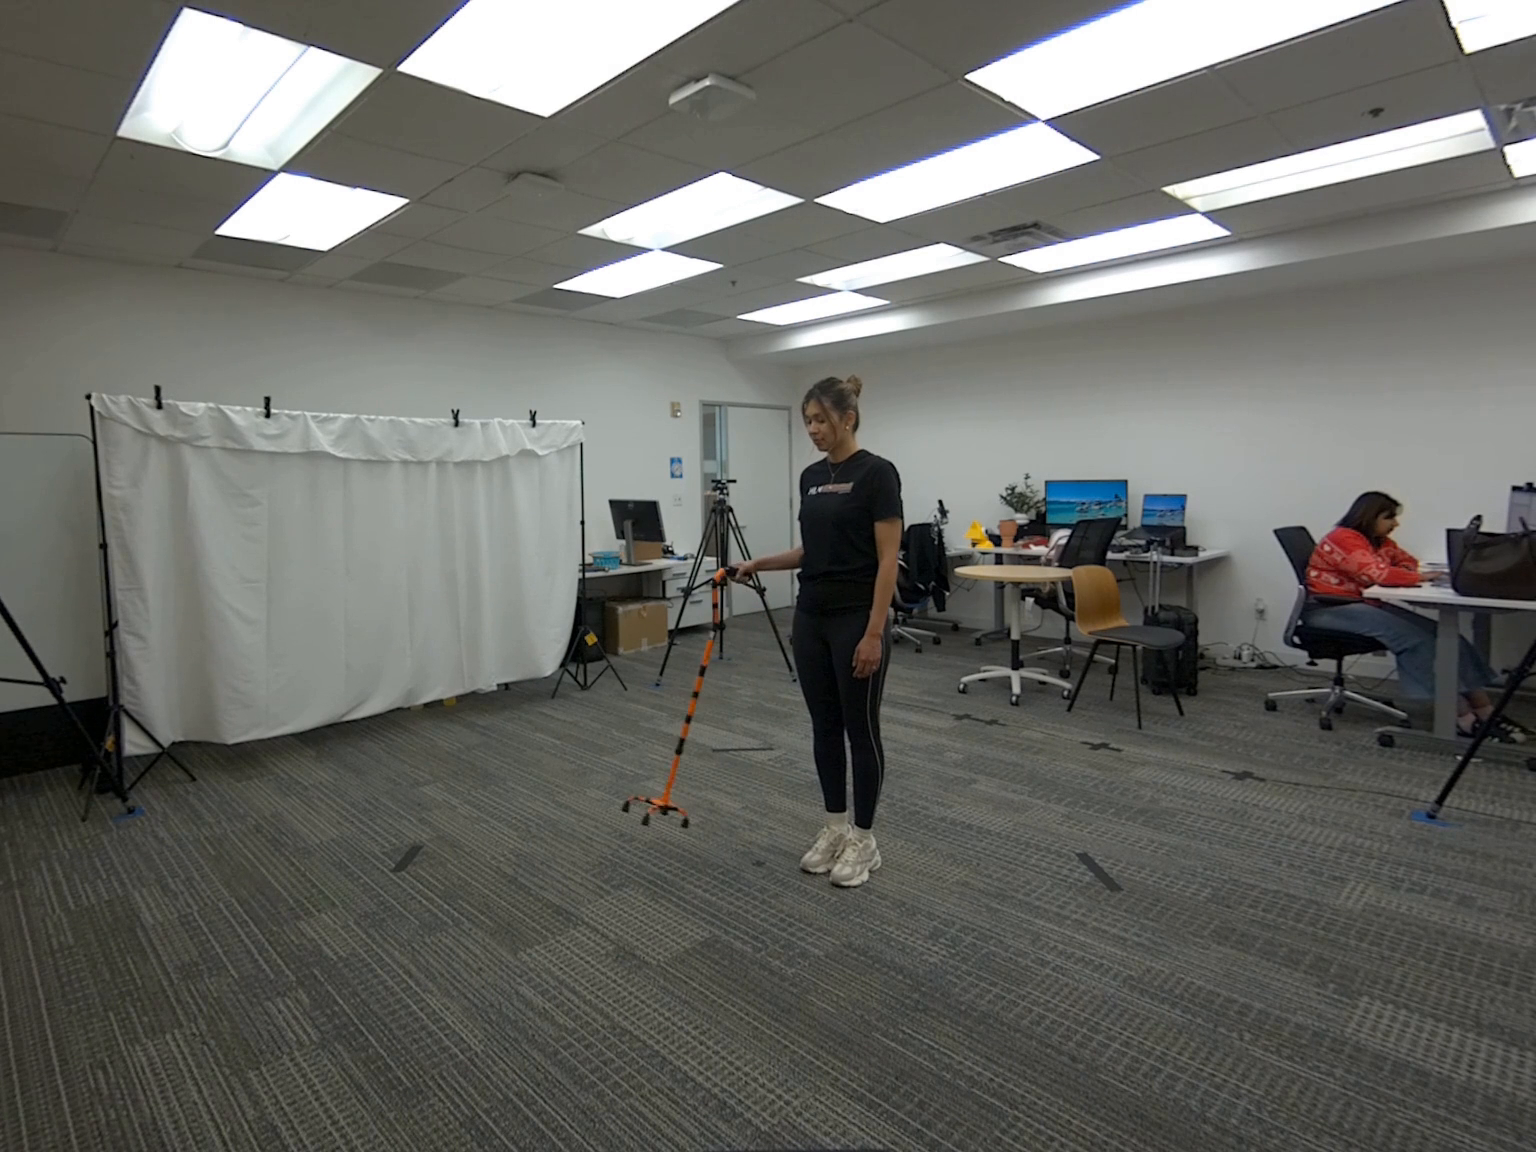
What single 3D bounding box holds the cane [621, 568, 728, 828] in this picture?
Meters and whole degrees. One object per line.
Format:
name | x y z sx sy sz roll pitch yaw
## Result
cane | -0.255 0.401 2.990 0.156 0.911 0.199 8 -7 44
